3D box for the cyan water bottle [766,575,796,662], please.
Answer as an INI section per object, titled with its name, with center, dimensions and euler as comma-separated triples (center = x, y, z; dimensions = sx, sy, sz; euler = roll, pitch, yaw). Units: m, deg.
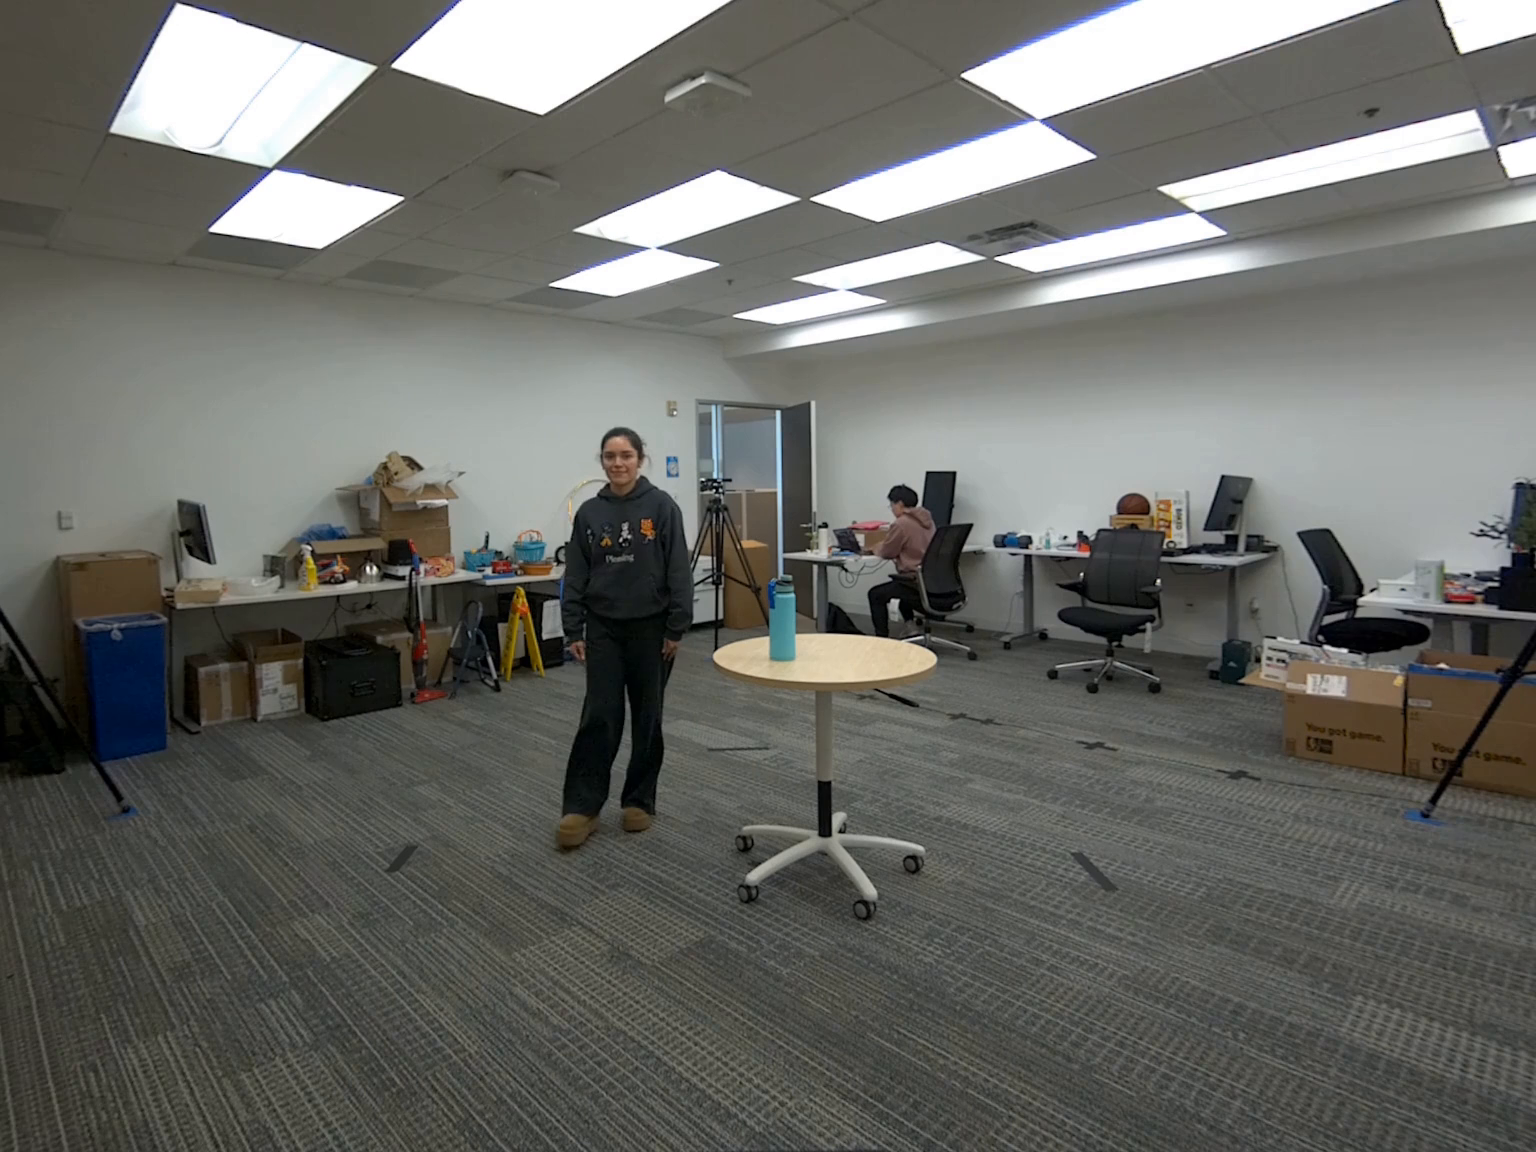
[cyan water bottle]
center = 0.046, 0.145, 2.897
dimensions = 0.092, 0.282, 0.093
euler = -2, 4, -1
